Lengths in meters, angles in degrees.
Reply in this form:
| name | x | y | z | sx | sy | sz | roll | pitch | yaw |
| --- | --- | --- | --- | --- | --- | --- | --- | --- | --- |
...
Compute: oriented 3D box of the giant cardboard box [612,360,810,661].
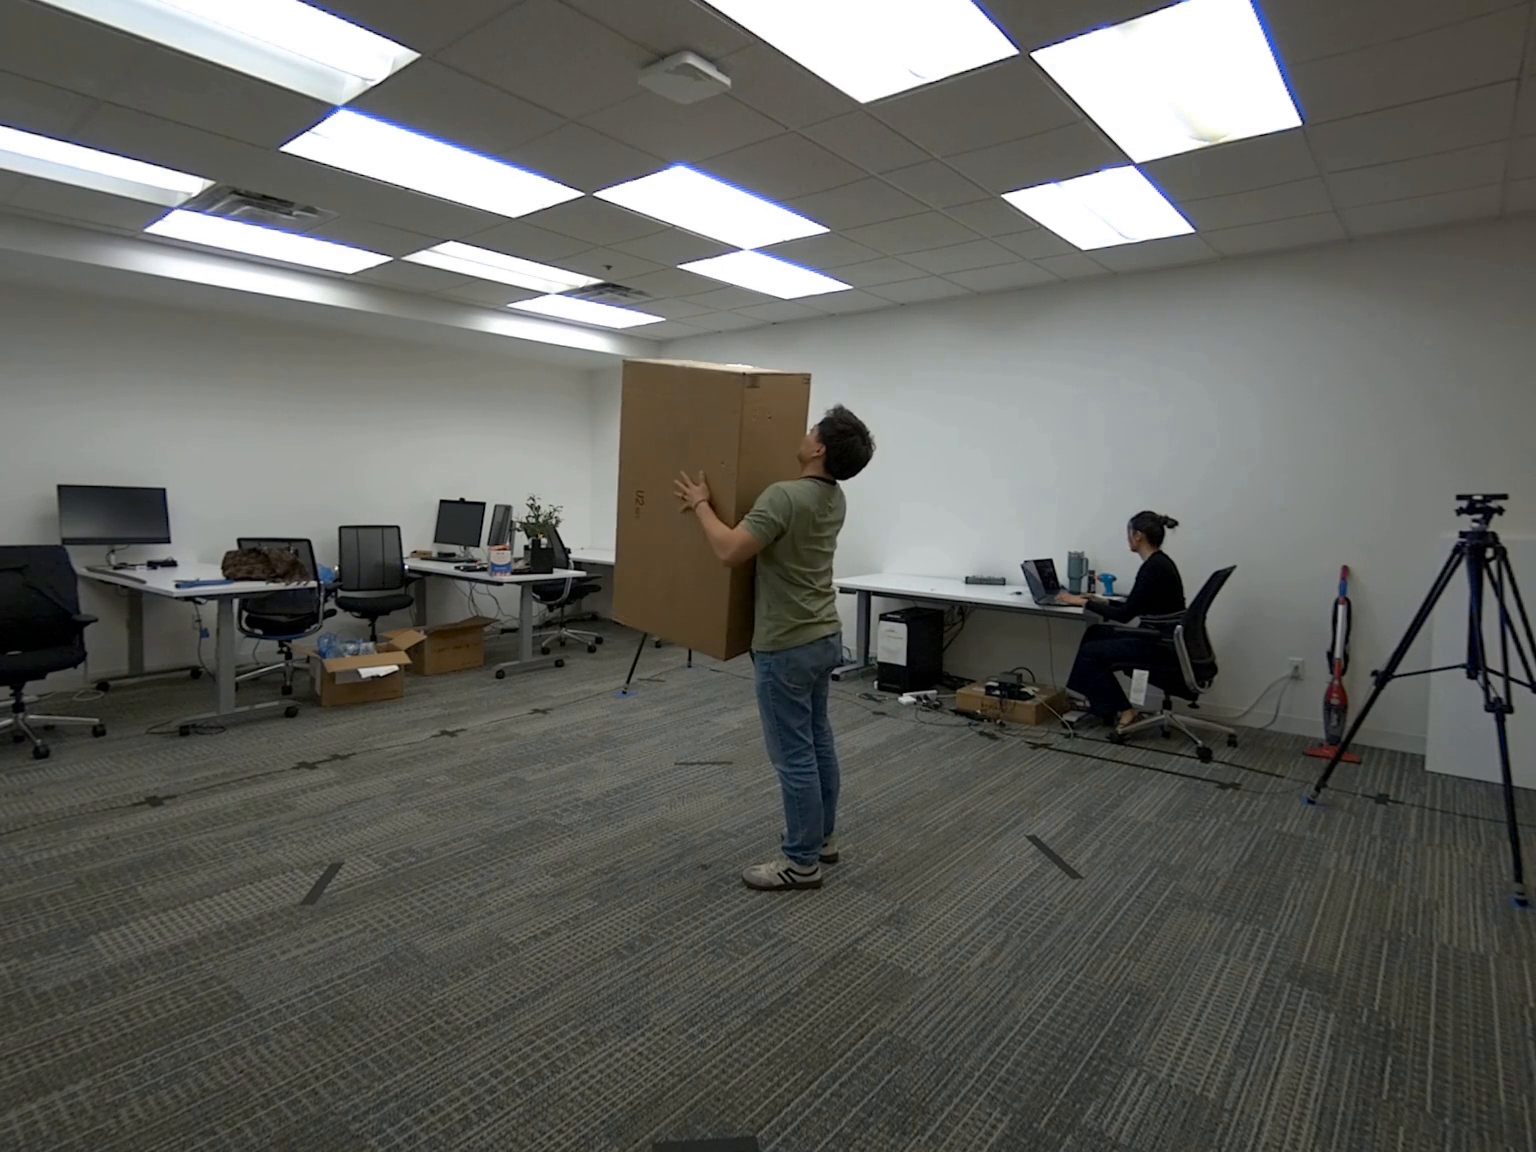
| name | x | y | z | sx | sy | sz | roll | pitch | yaw |
| --- | --- | --- | --- | --- | --- | --- | --- | --- | --- |
| giant cardboard box | -0.241 | -0.282 | 3.263 | 0.598 | 1.013 | 0.416 | 14 | 17 | 34 |
